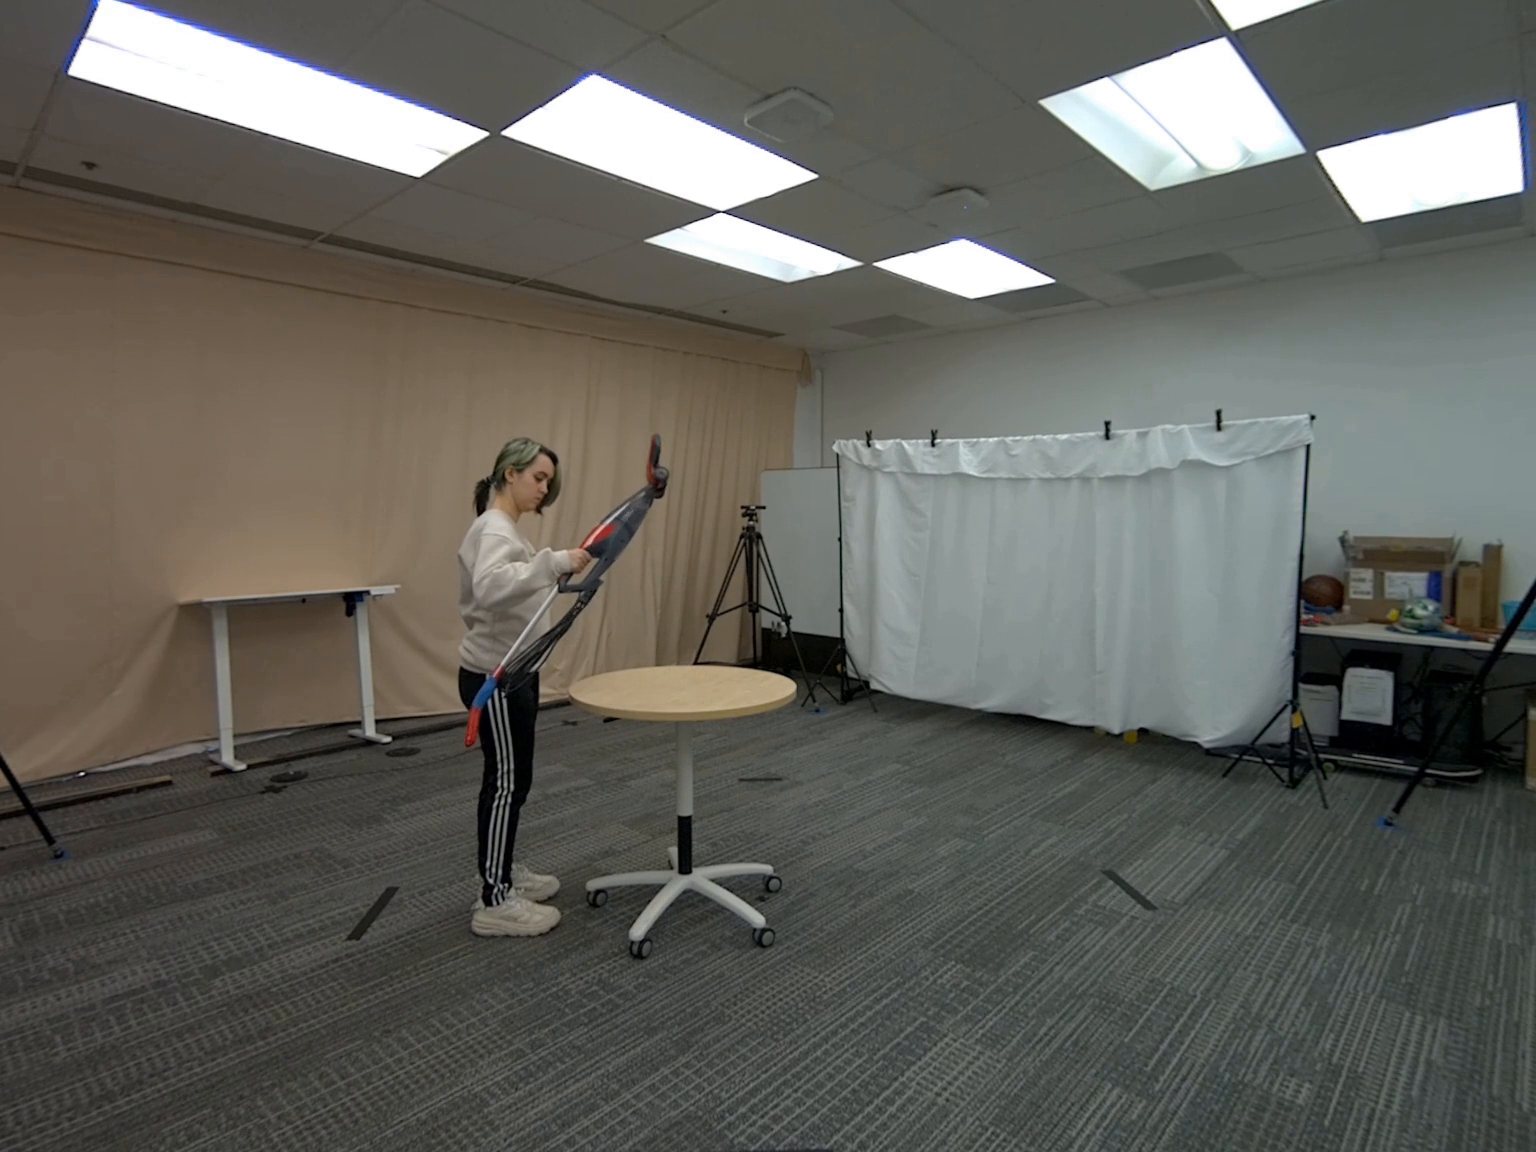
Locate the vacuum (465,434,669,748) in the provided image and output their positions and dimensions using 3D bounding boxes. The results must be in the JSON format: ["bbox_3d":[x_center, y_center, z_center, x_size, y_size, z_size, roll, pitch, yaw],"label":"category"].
[{"bbox_3d":[-0.588,0.052,2.580,0.144,1.050,0.251,27,-27,1],"label":"vacuum"}]
